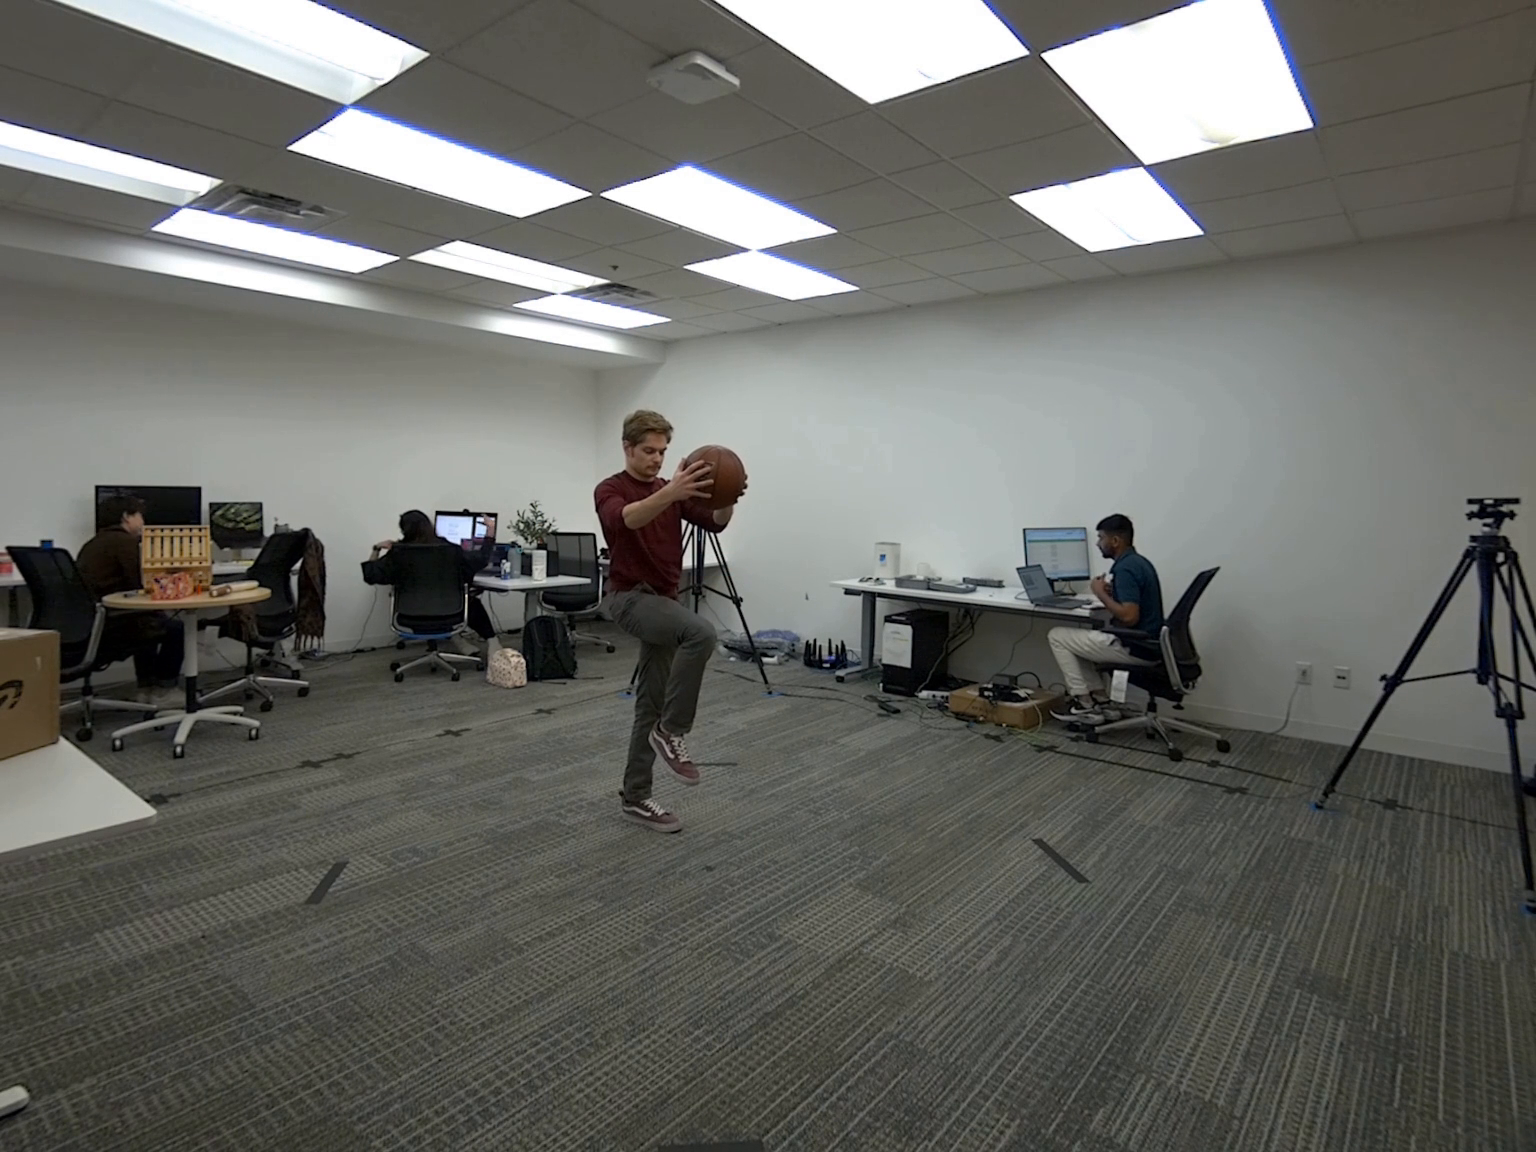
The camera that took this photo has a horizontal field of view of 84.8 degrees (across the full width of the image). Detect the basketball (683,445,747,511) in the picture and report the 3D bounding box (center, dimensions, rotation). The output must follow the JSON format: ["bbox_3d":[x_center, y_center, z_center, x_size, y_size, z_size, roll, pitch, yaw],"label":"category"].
[{"bbox_3d":[-0.214,-0.360,3.118,0.235,0.235,0.237,1,4,-2],"label":"basketball"}]
